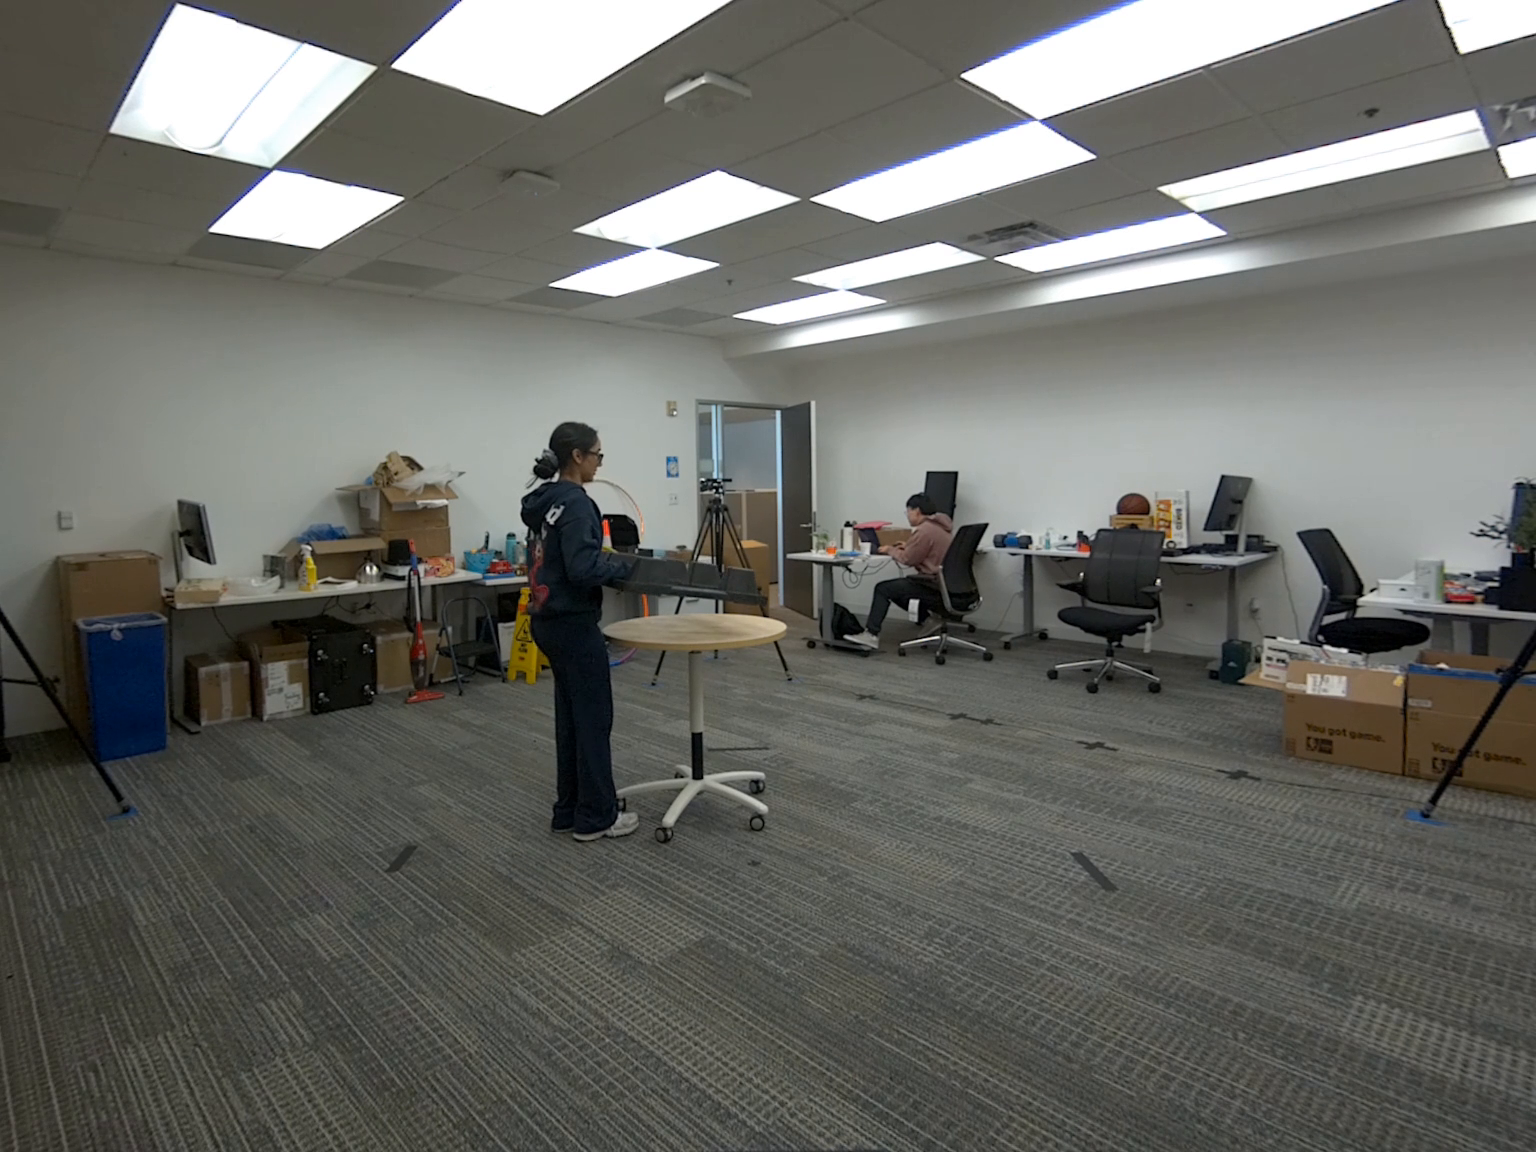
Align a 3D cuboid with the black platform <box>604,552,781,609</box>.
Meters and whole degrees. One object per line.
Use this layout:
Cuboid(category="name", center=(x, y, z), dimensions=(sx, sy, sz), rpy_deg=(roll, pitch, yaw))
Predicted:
Cuboid(category="black platform", center=(-0.421, -0.004, 3.548), dimensions=(0.589, 0.143, 0.826), rpy_deg=(6, 1, -28))
